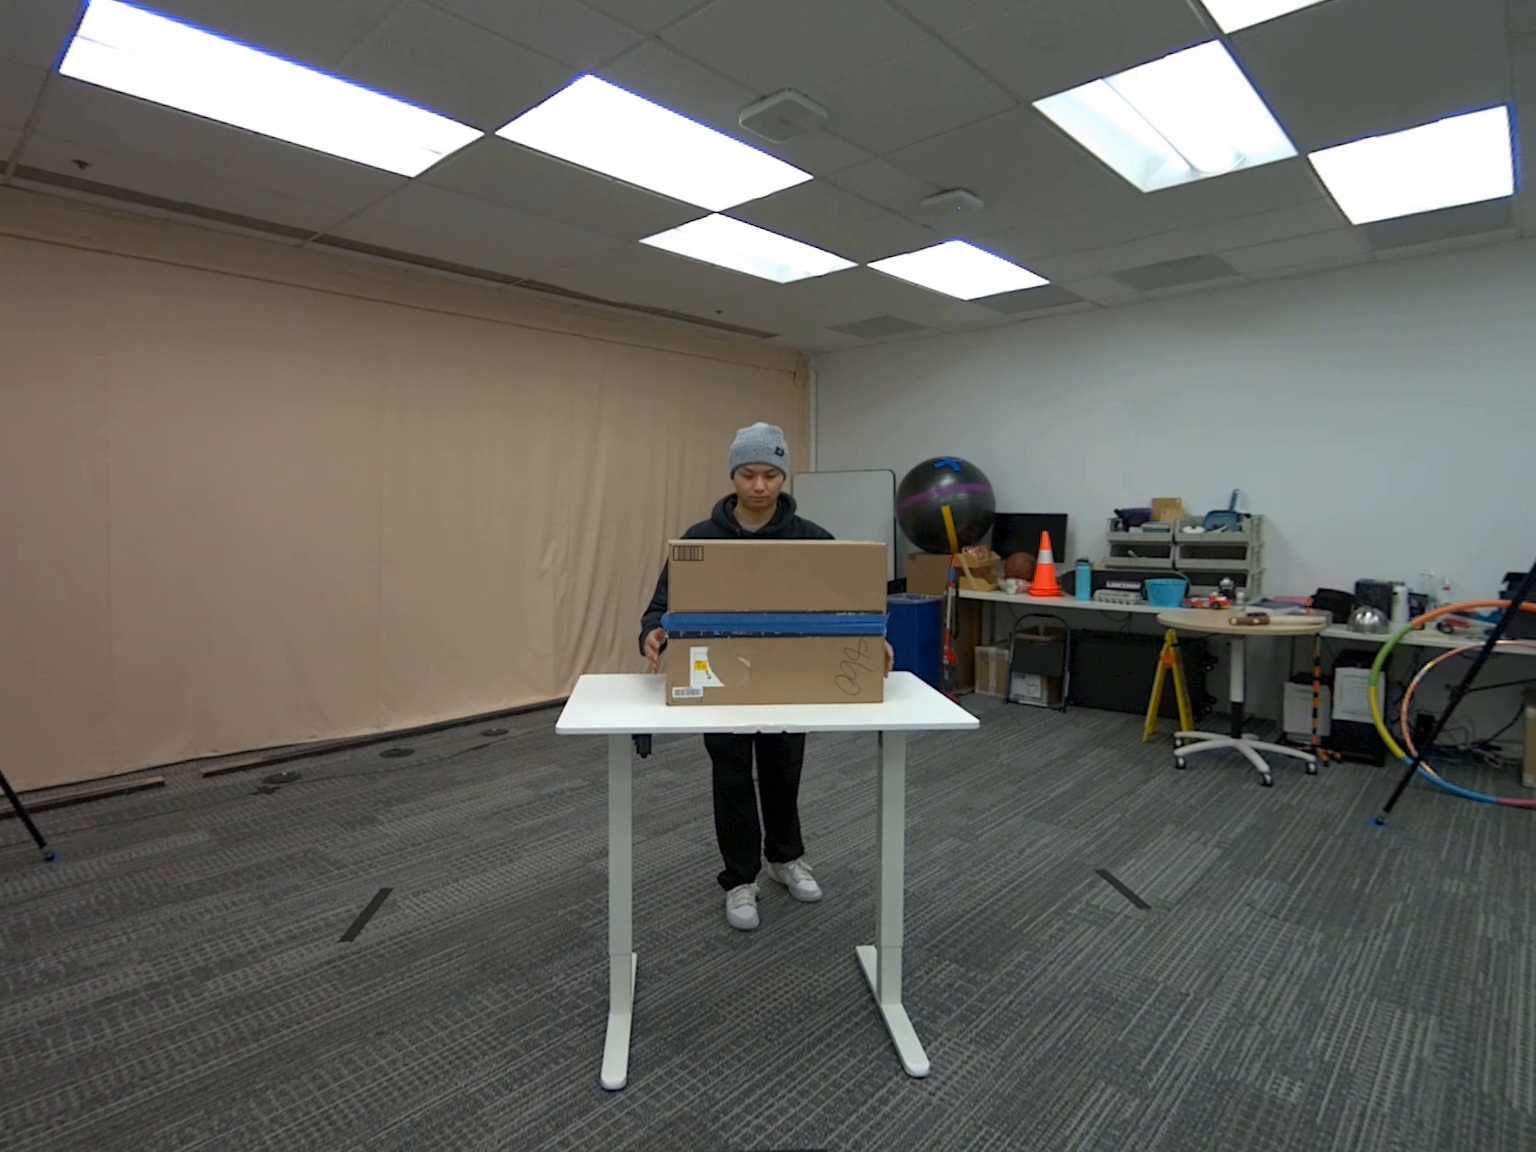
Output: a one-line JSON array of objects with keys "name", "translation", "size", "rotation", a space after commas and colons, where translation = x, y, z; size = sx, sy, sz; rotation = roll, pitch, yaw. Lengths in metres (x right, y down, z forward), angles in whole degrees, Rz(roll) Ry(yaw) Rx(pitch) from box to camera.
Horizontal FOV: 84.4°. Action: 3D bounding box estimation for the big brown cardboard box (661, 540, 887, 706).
[{"name": "big brown cardboard box", "translation": [0.009, 0.114, 2.262], "size": [0.586, 0.416, 0.235], "rotation": [0, 4, -5]}]
